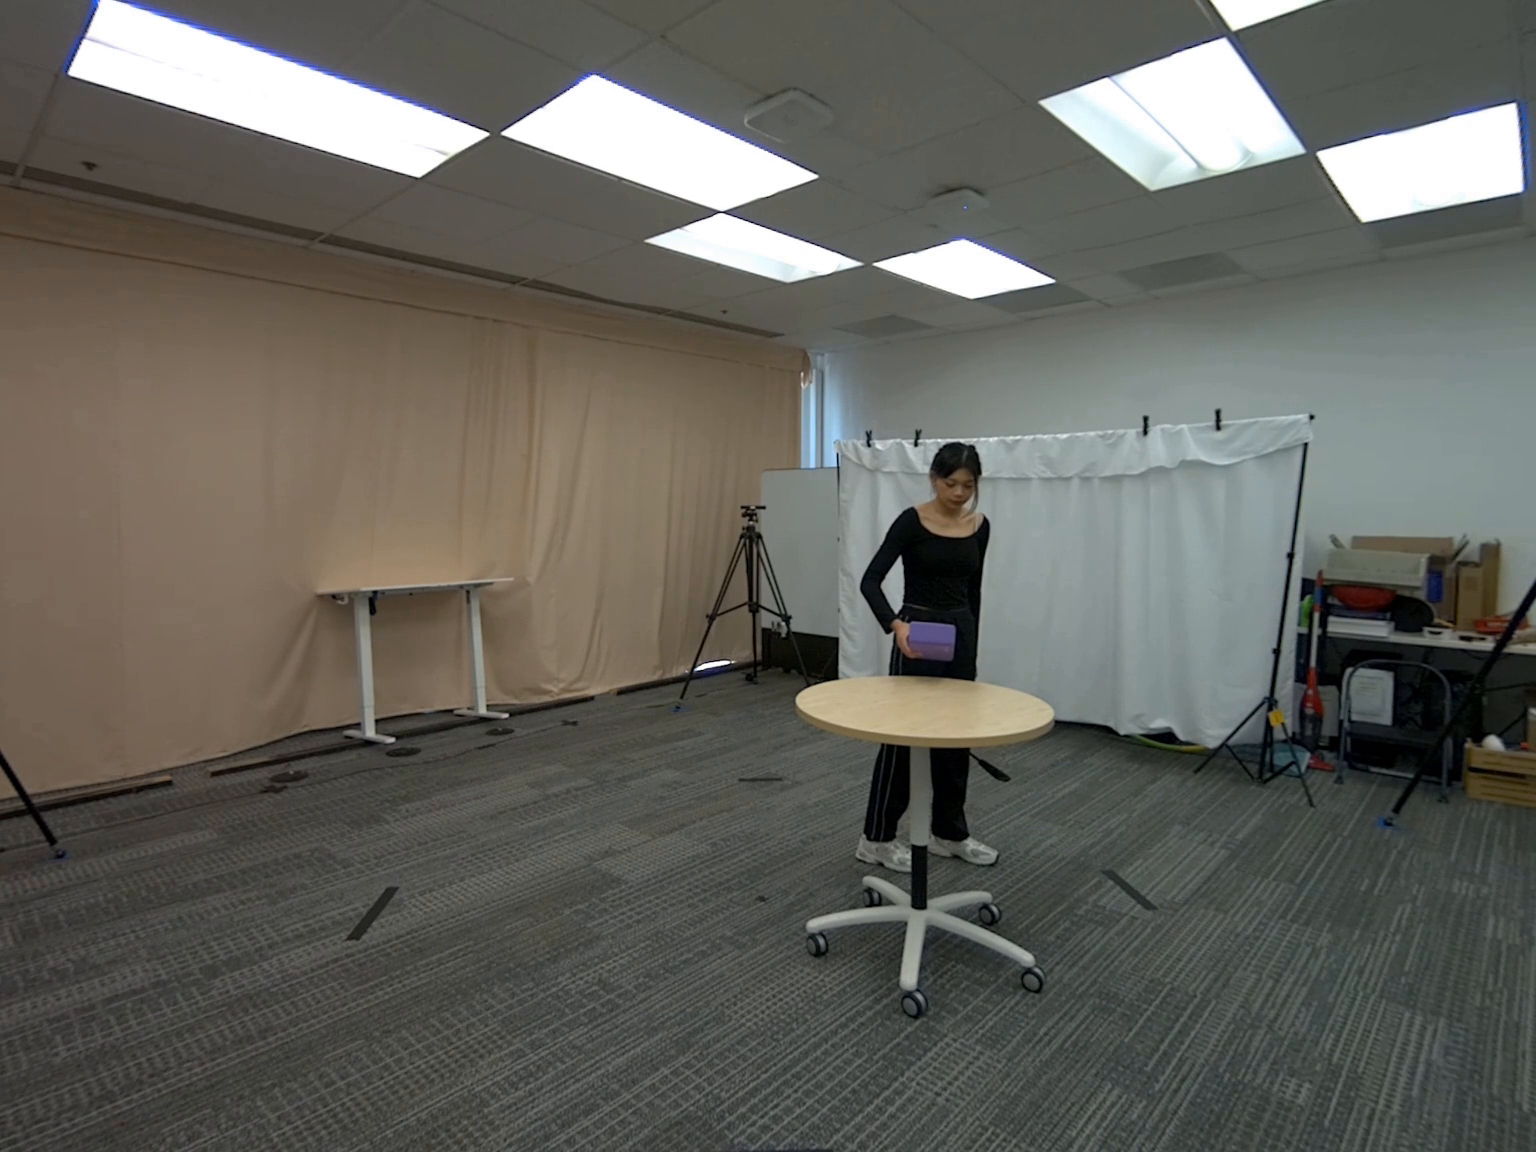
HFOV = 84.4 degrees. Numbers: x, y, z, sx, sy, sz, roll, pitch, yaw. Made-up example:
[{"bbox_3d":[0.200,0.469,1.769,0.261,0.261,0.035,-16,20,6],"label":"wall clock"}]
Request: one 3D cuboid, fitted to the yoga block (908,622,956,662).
[{"bbox_3d":[0.553,0.217,2.894,0.150,0.077,0.226,2,-12,5],"label":"yoga block"}]
